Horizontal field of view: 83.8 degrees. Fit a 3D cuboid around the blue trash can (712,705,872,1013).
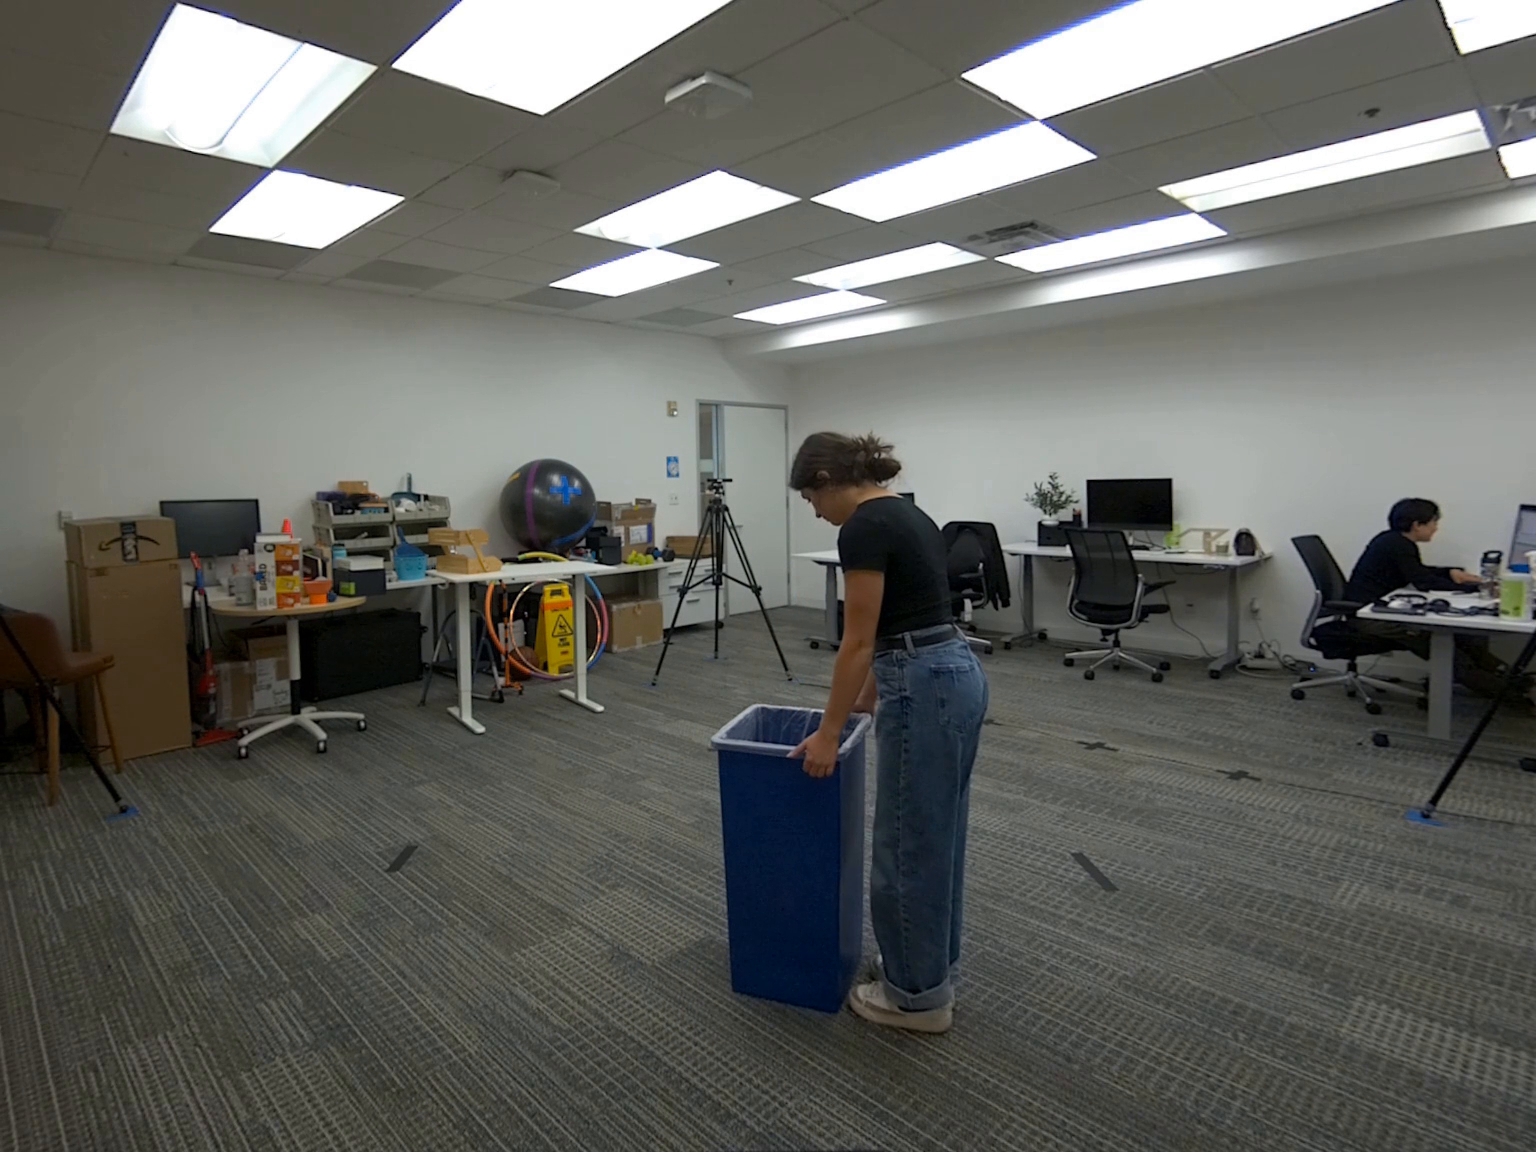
[{"bbox_3d":[0.085,0.770,2.386,0.385,0.711,0.368,0,4,20],"label":"blue trash can"}]
